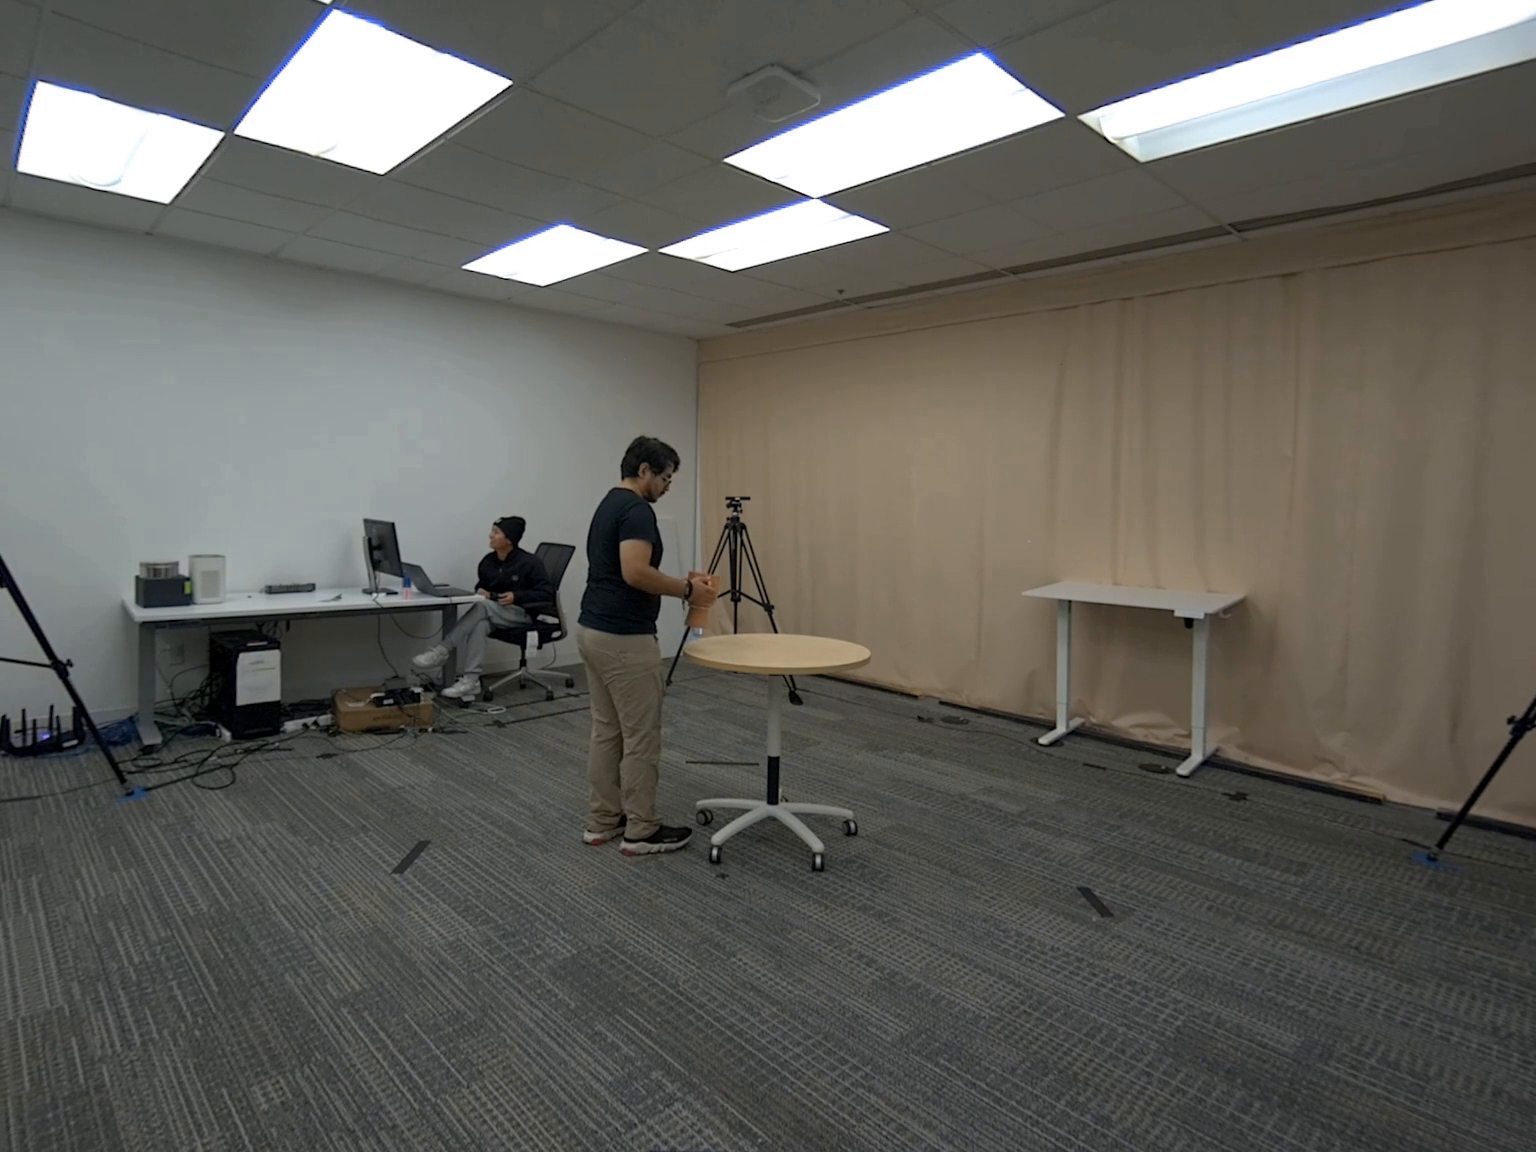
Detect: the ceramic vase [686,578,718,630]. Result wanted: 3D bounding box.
[{"bbox_3d":[-0.285,0.099,3.414,0.137,0.220,0.156,9,-1,17],"label":"ceramic vase"}]
